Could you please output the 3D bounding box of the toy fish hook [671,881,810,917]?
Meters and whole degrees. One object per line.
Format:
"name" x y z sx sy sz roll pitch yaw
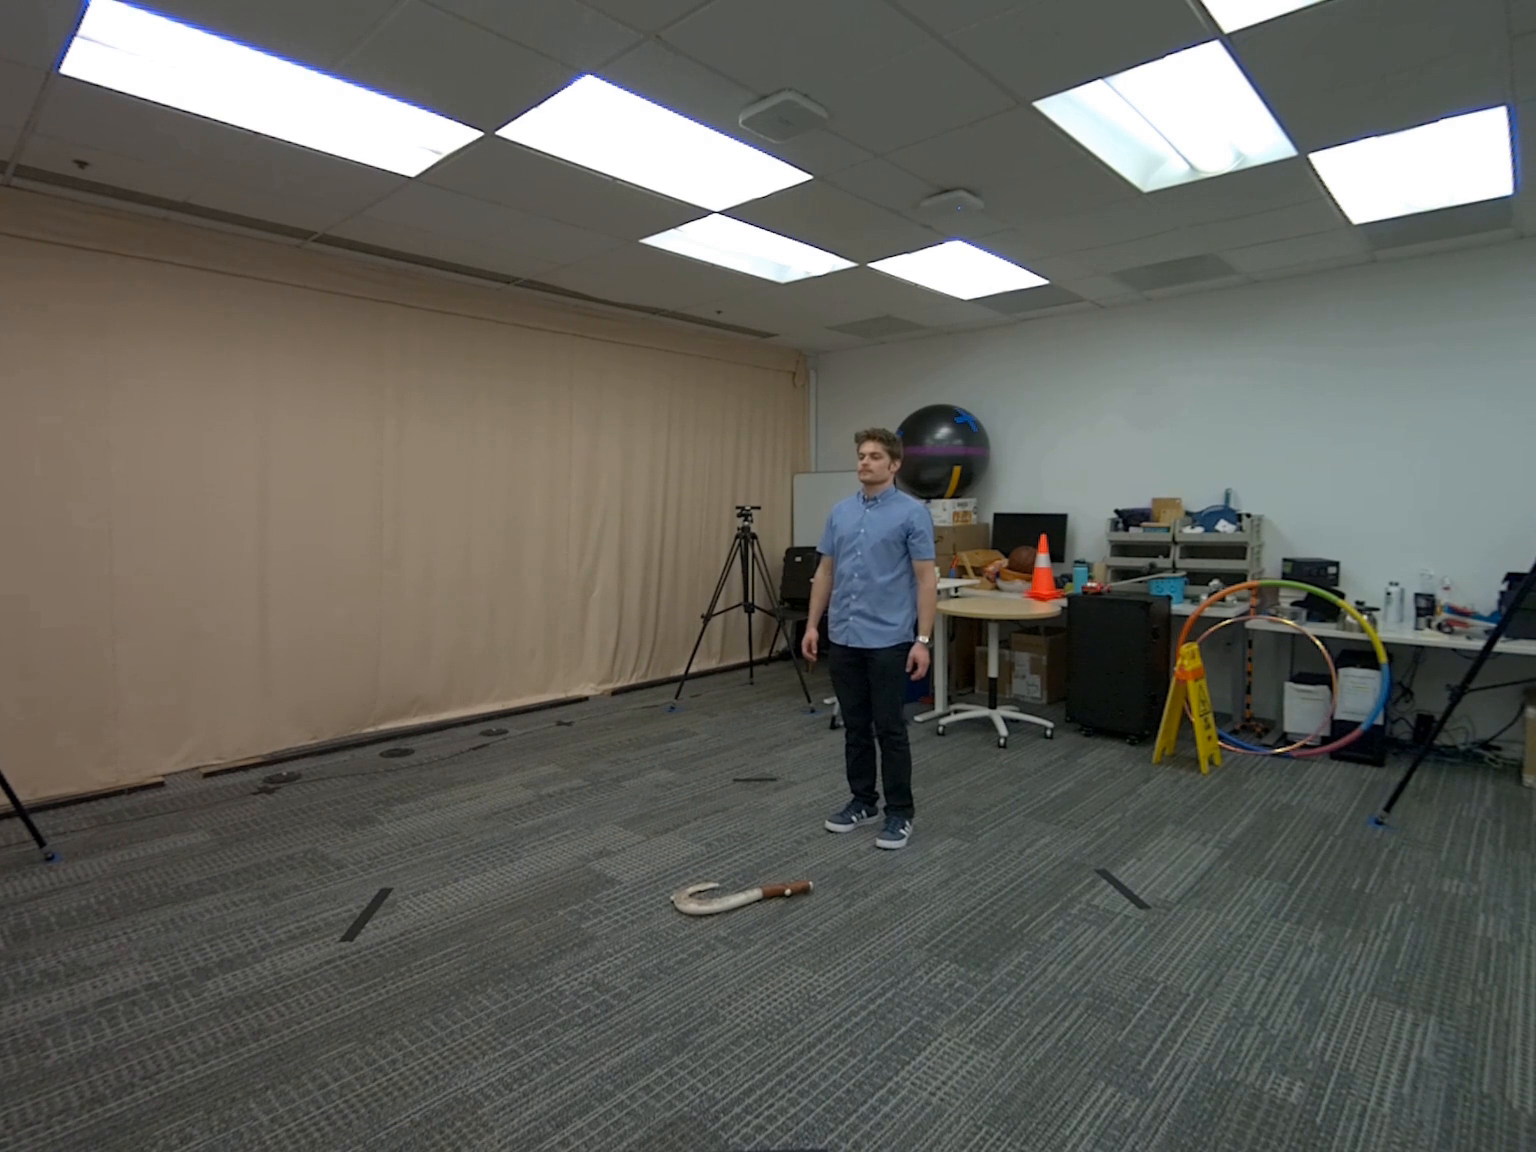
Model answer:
"toy fish hook" -0.089 1.120 2.997 0.496 0.048 0.230 -1 5 -20
